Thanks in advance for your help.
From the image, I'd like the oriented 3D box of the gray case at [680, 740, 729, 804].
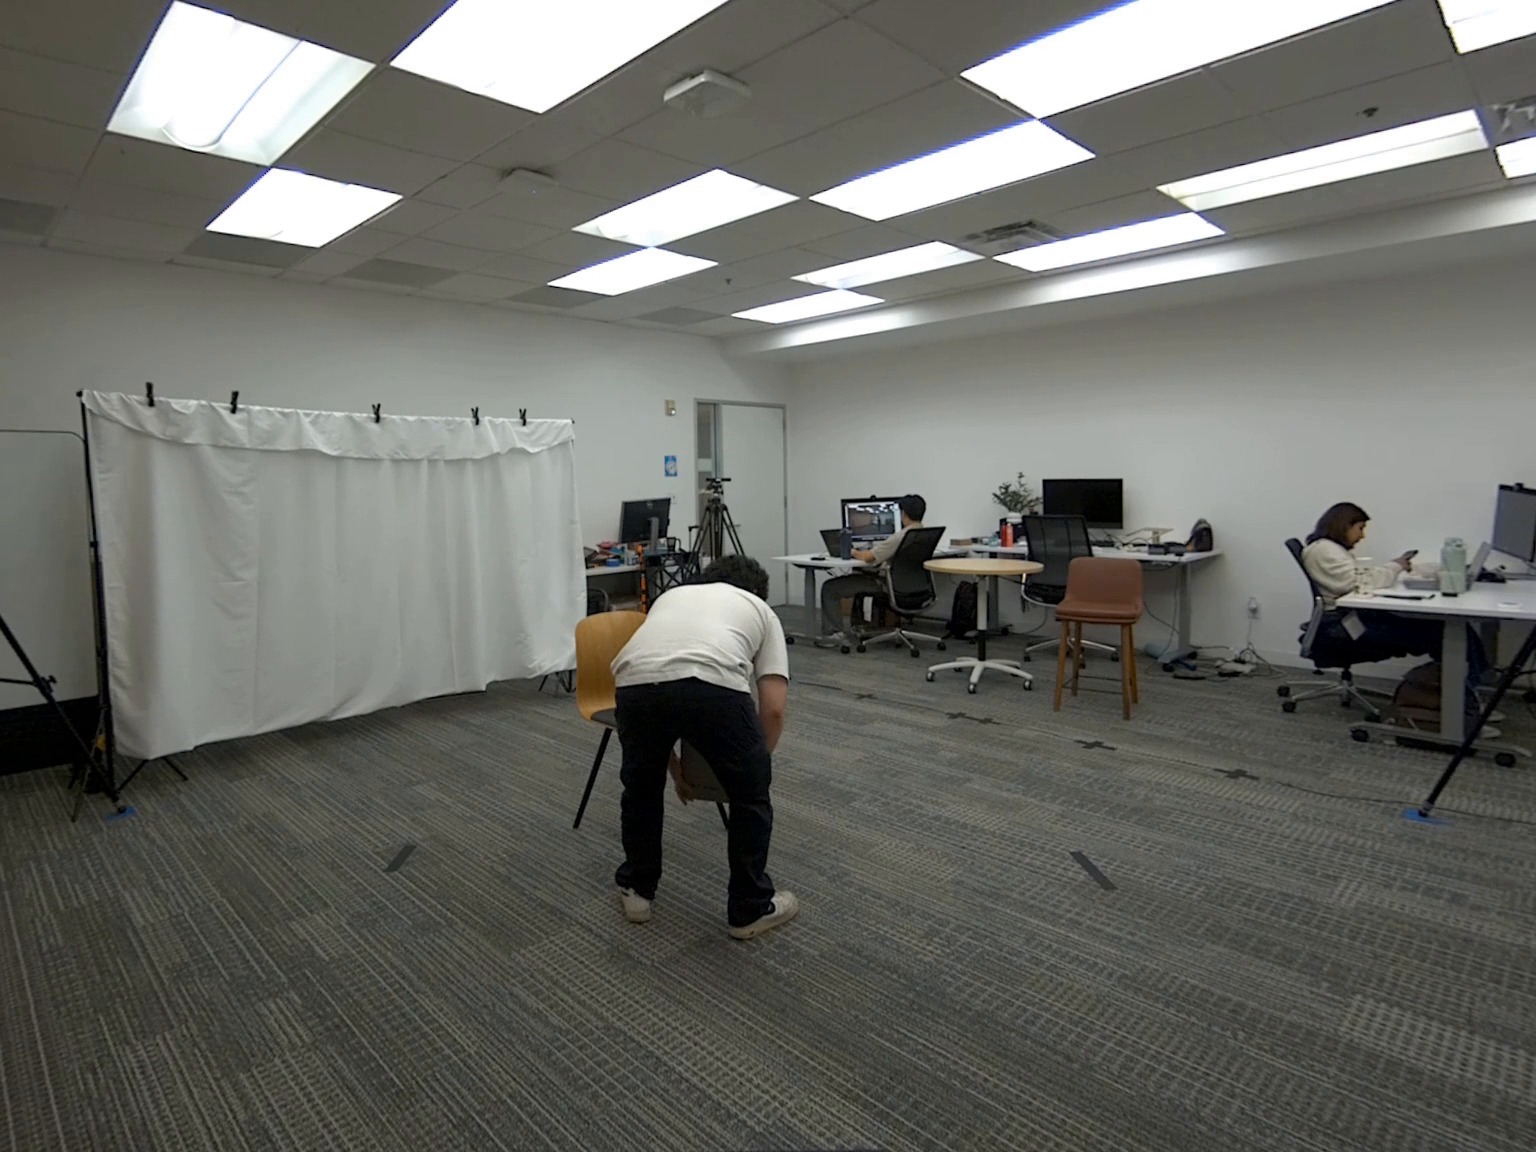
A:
[{"bbox_3d":[-0.159,0.620,2.906,0.261,0.260,0.102,0,0,18],"label":"gray case"}]
